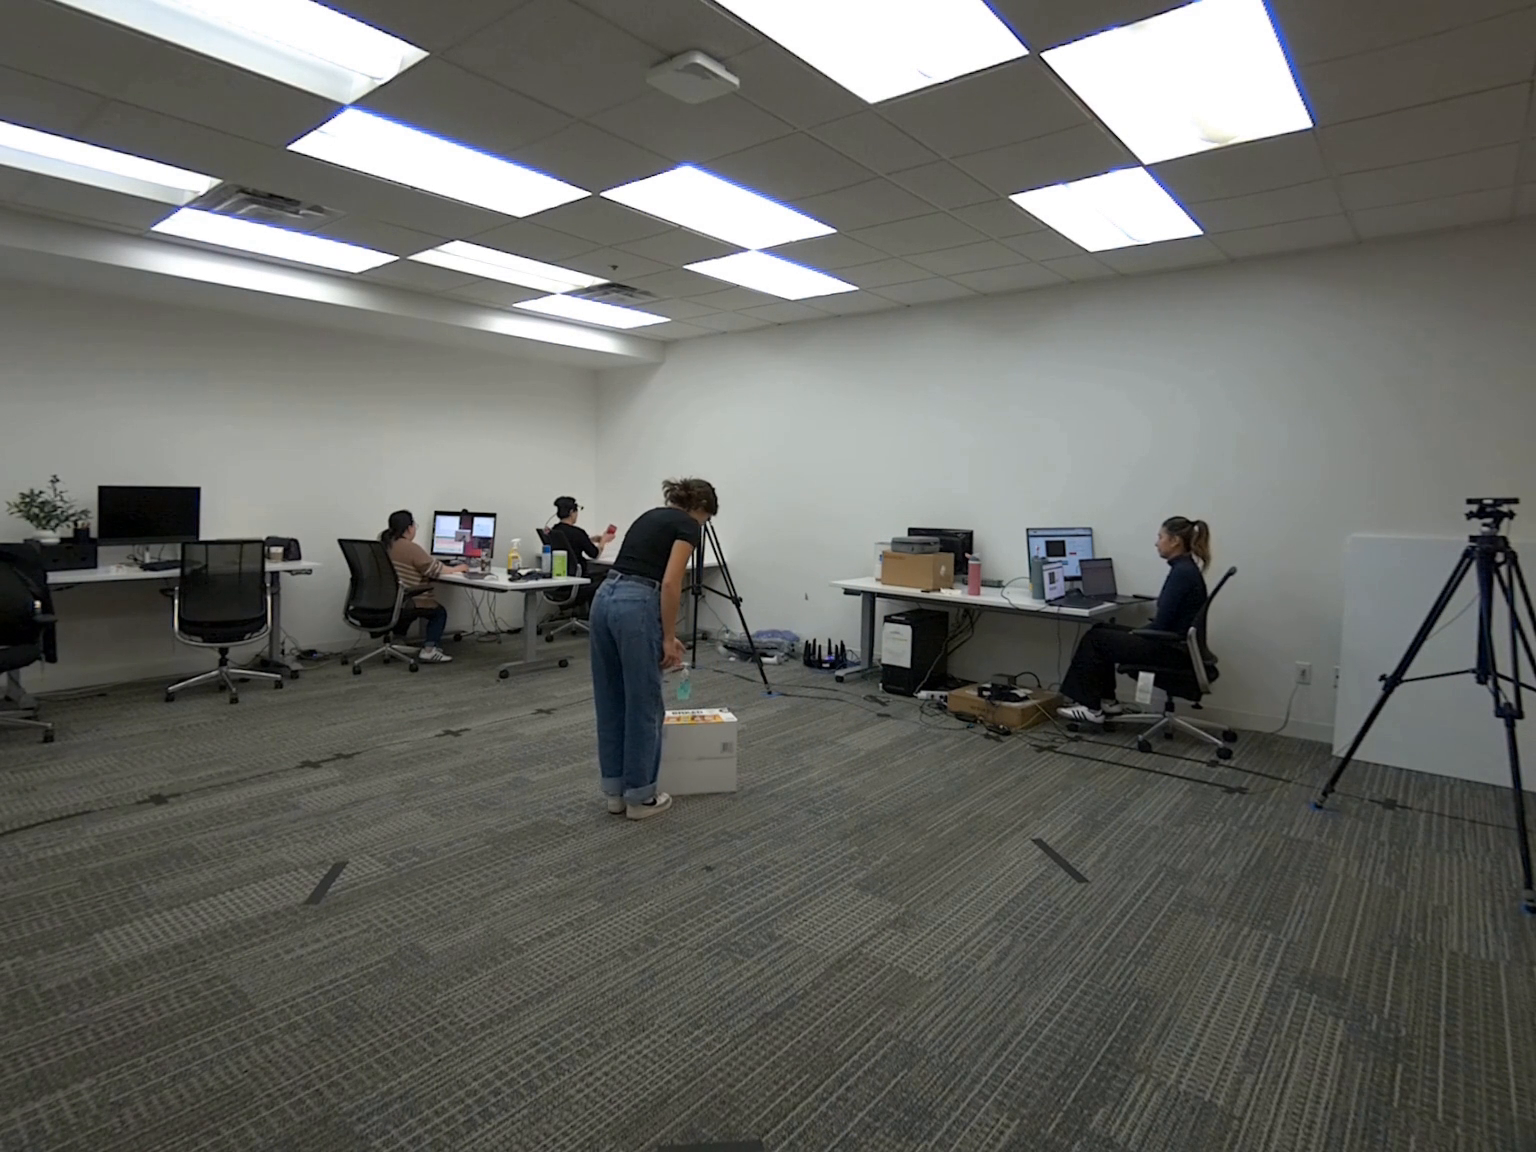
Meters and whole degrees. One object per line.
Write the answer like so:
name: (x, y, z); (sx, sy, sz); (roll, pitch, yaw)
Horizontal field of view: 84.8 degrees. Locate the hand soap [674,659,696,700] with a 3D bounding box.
hand soap: (-0.391, 0.481, 3.934); (0.045, 0.167, 0.082); (7, 6, 44)
